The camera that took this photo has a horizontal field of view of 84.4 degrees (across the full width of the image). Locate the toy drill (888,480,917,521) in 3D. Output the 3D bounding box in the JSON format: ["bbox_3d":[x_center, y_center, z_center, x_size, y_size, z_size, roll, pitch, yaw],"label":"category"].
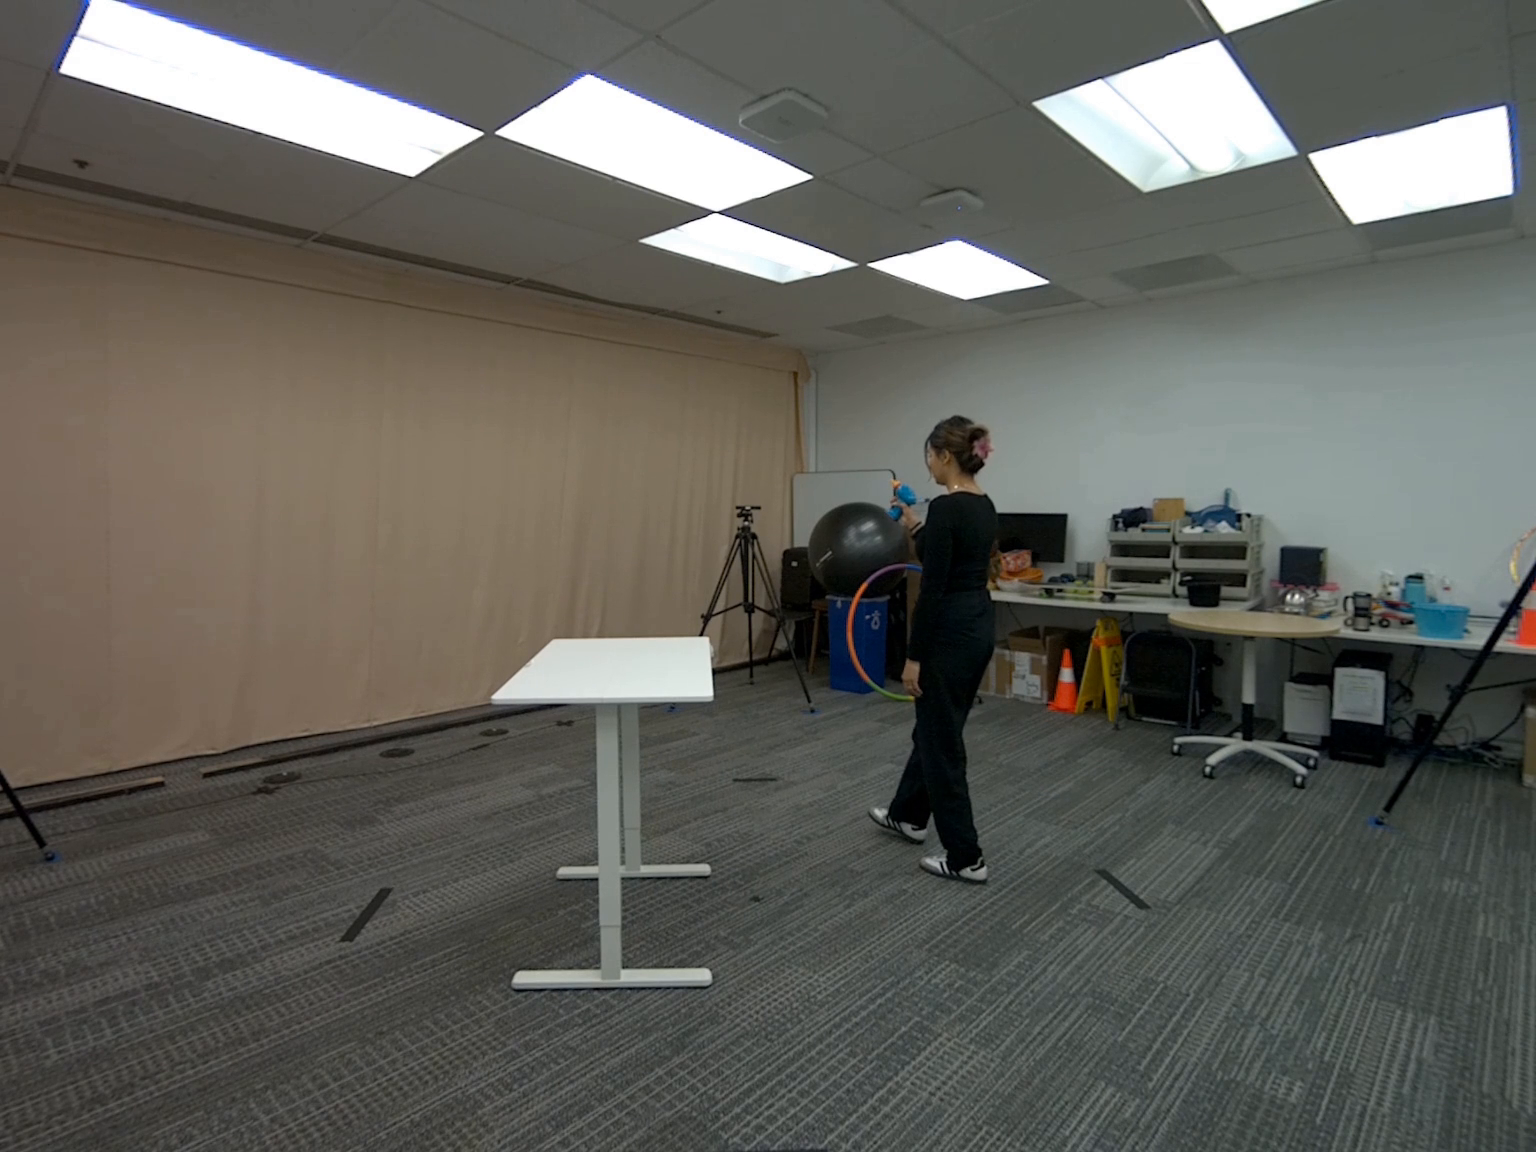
[{"bbox_3d":[0.554,-0.332,3.579,0.059,0.146,0.175,15,30,-50],"label":"toy drill"}]
